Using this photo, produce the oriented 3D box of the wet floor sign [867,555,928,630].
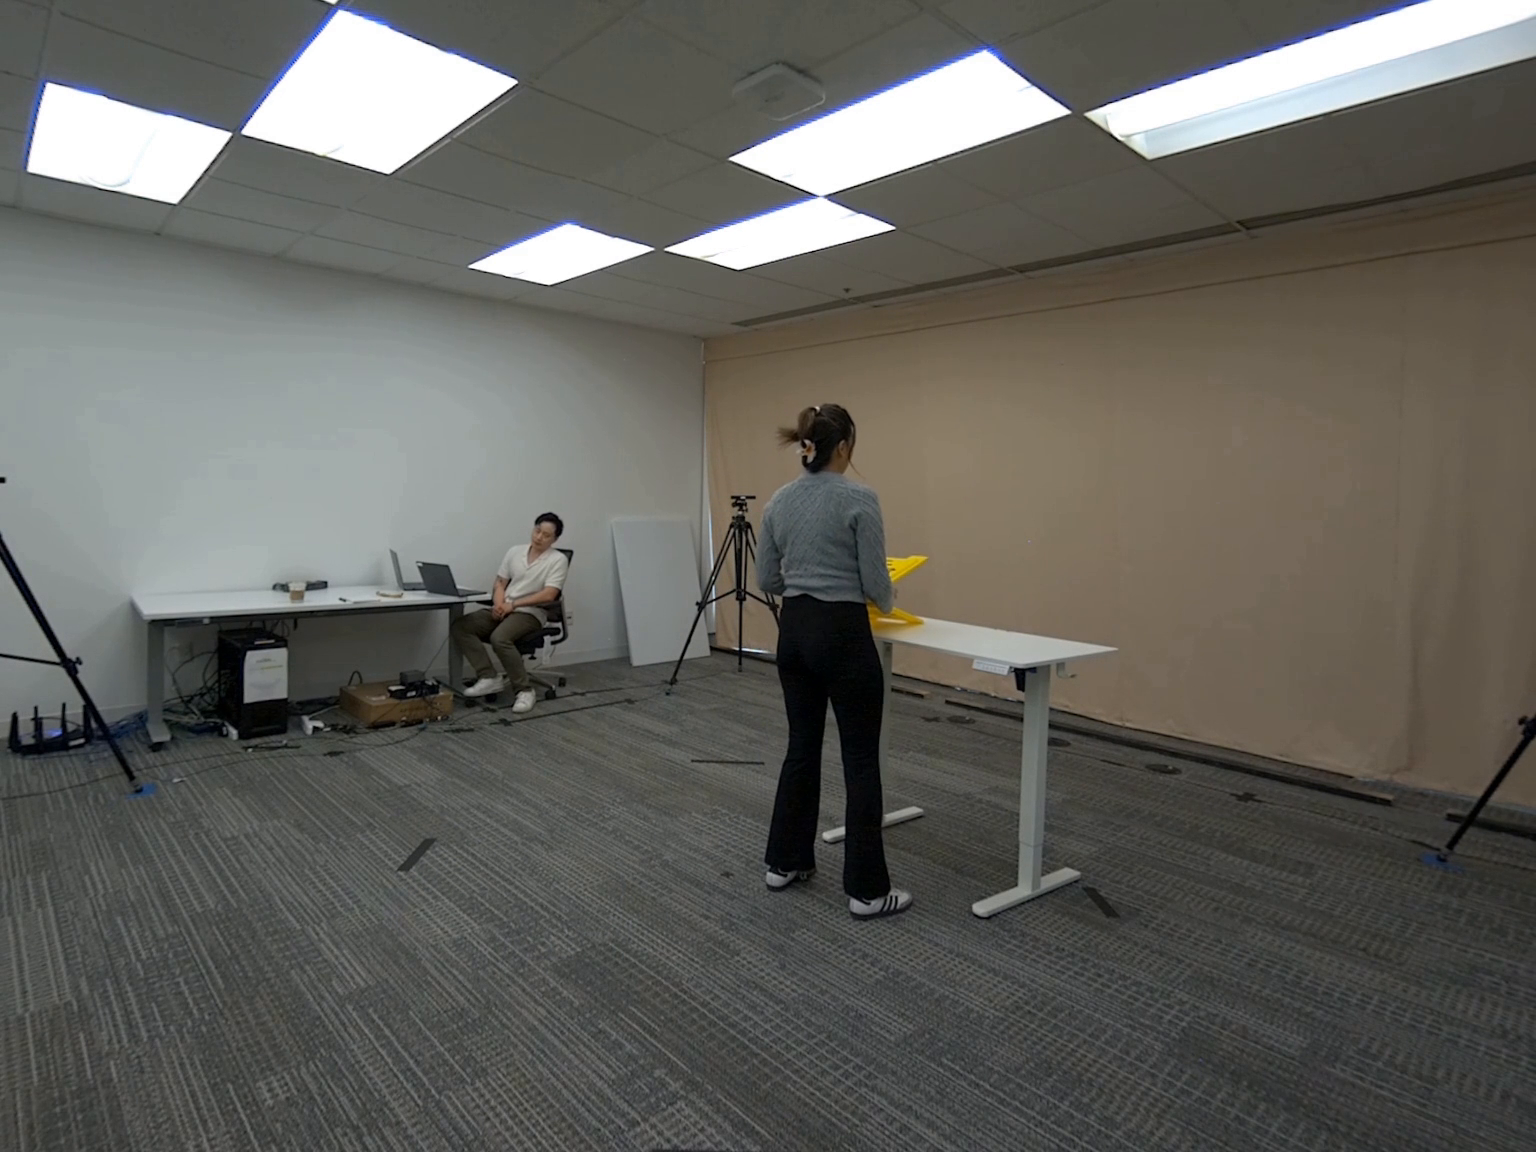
[{"bbox_3d":[0.396,0.057,3.359,0.288,0.289,0.633,5,3,27],"label":"wet floor sign"}]
